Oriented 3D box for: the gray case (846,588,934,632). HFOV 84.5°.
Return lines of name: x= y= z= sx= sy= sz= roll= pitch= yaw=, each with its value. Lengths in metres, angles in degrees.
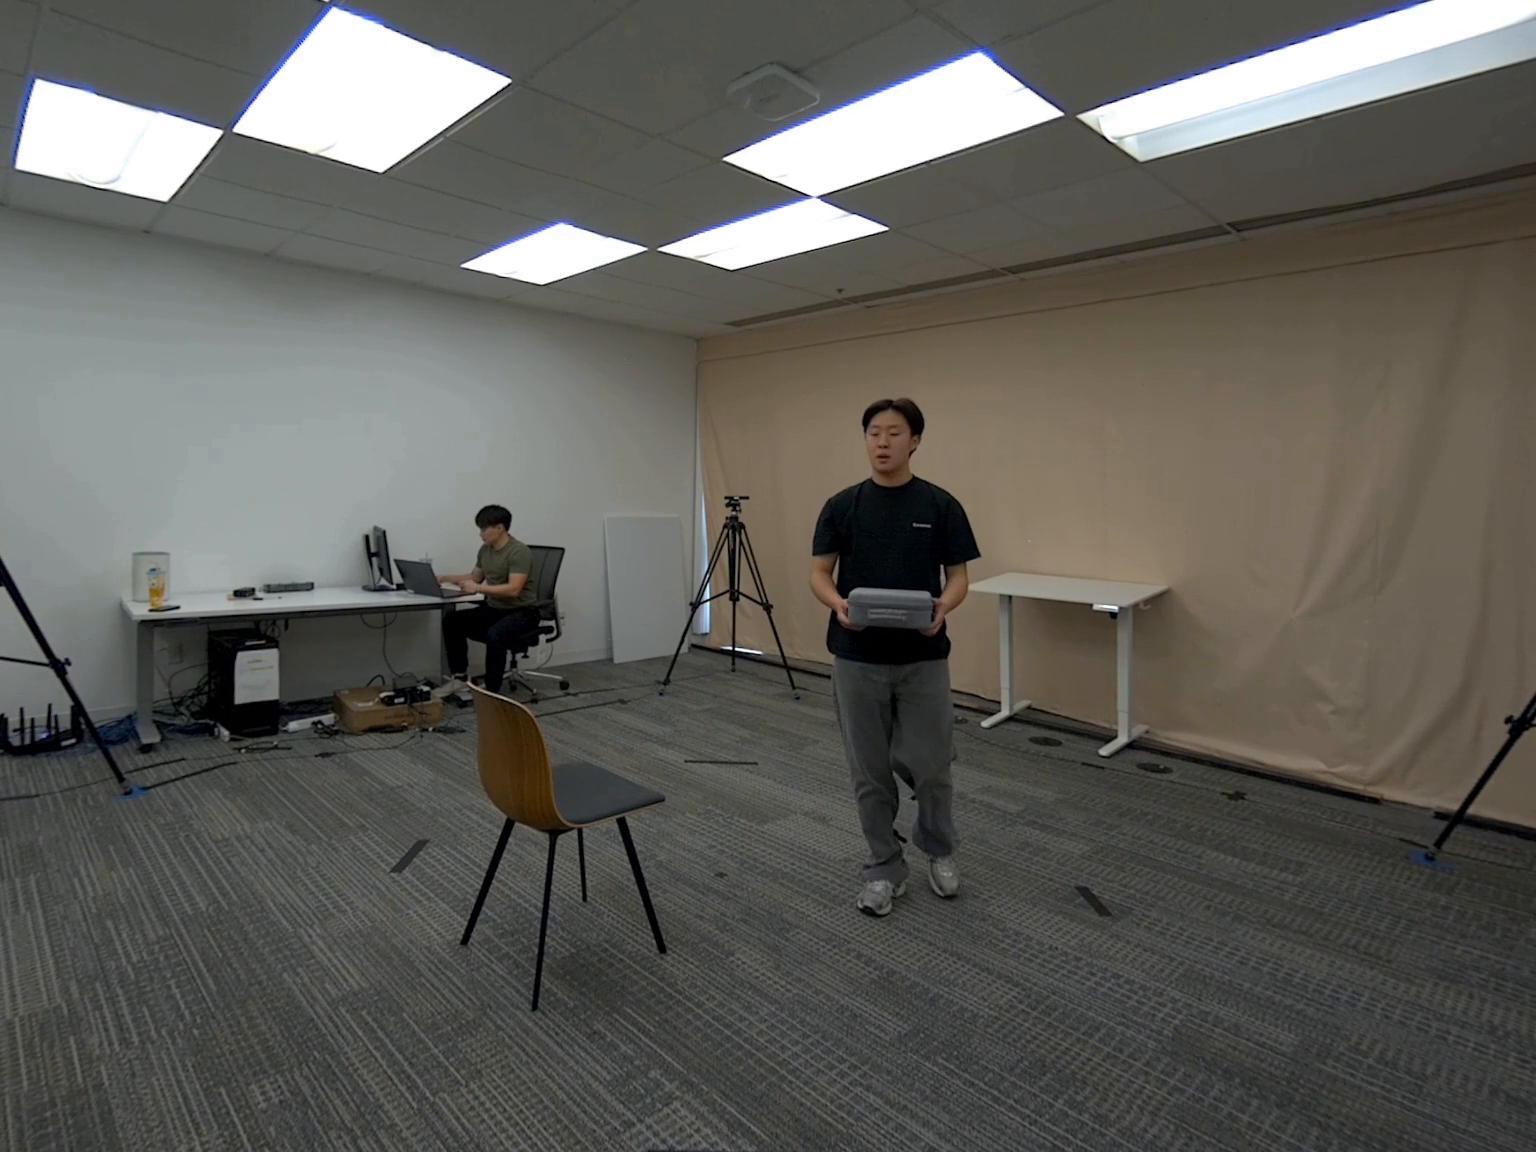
gray case: x=0.382 y=0.104 z=2.622 sx=0.265 sy=0.103 sz=0.285 roll=3 pitch=5 yaw=9
